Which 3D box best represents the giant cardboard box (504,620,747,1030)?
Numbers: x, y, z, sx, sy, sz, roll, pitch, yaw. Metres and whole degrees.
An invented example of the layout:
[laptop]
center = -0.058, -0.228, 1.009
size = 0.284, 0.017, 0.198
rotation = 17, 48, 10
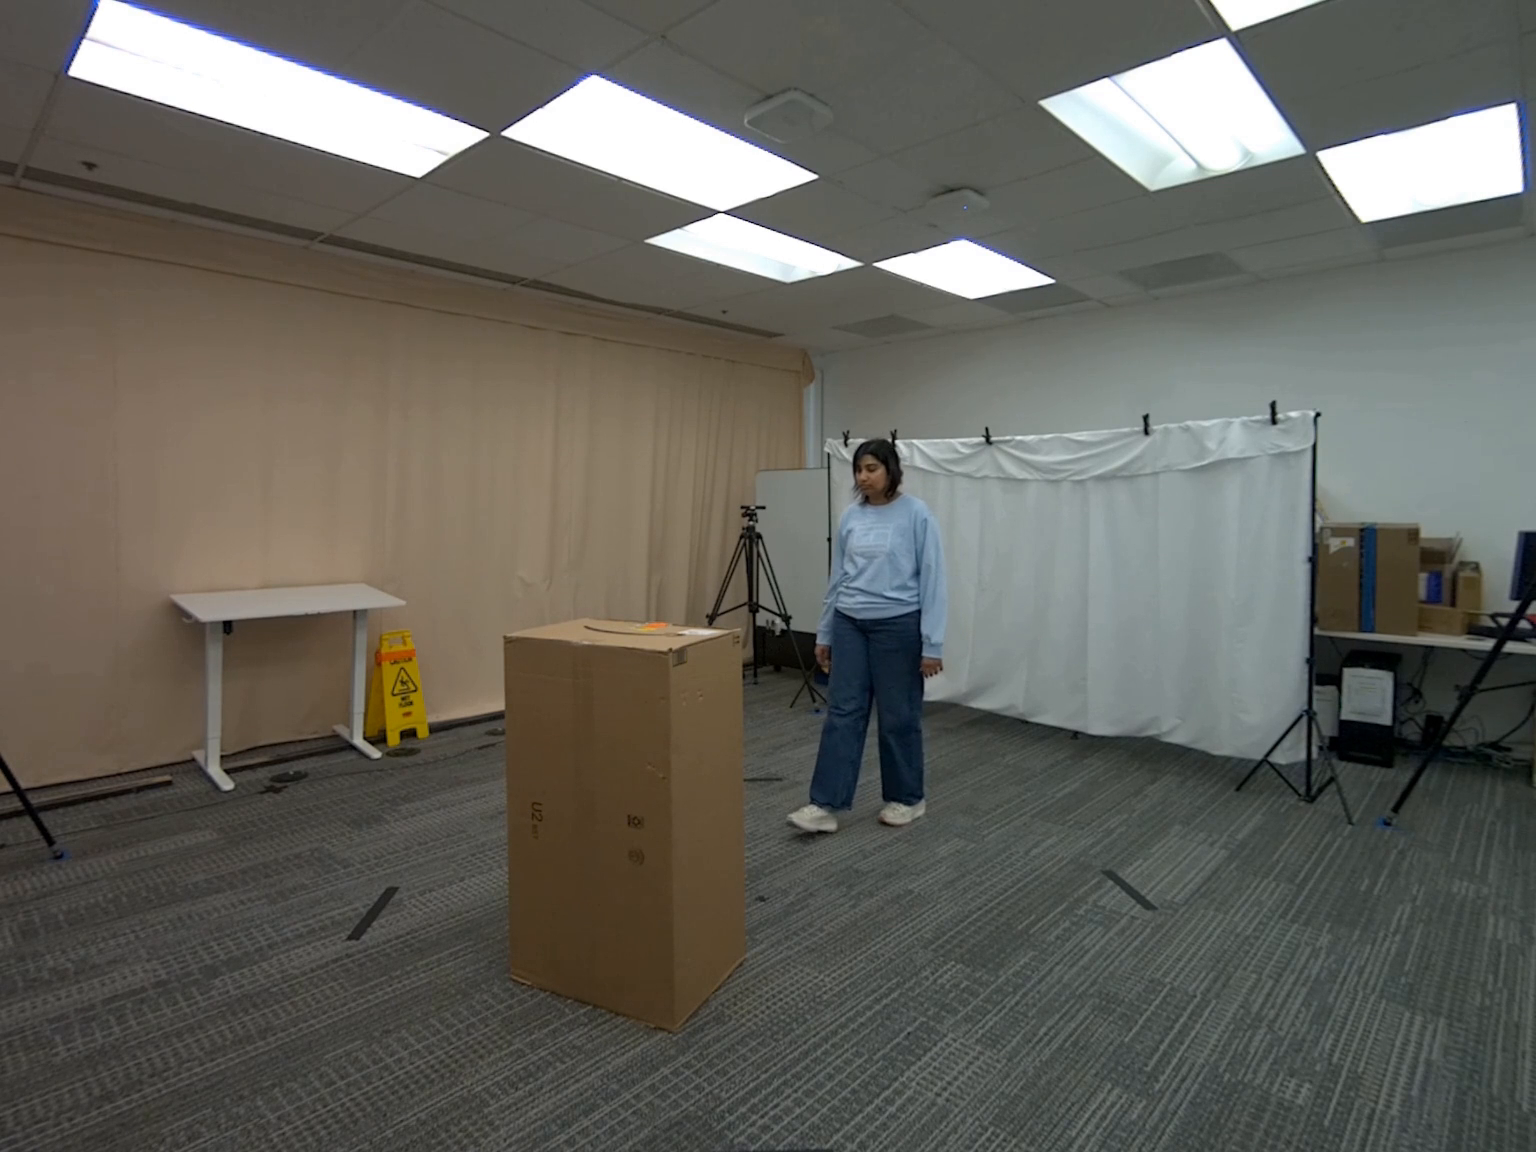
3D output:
[giant cardboard box]
center = -0.422, 0.675, 2.517
size = 0.600, 1.025, 0.435
rotation = 1, 3, 29
